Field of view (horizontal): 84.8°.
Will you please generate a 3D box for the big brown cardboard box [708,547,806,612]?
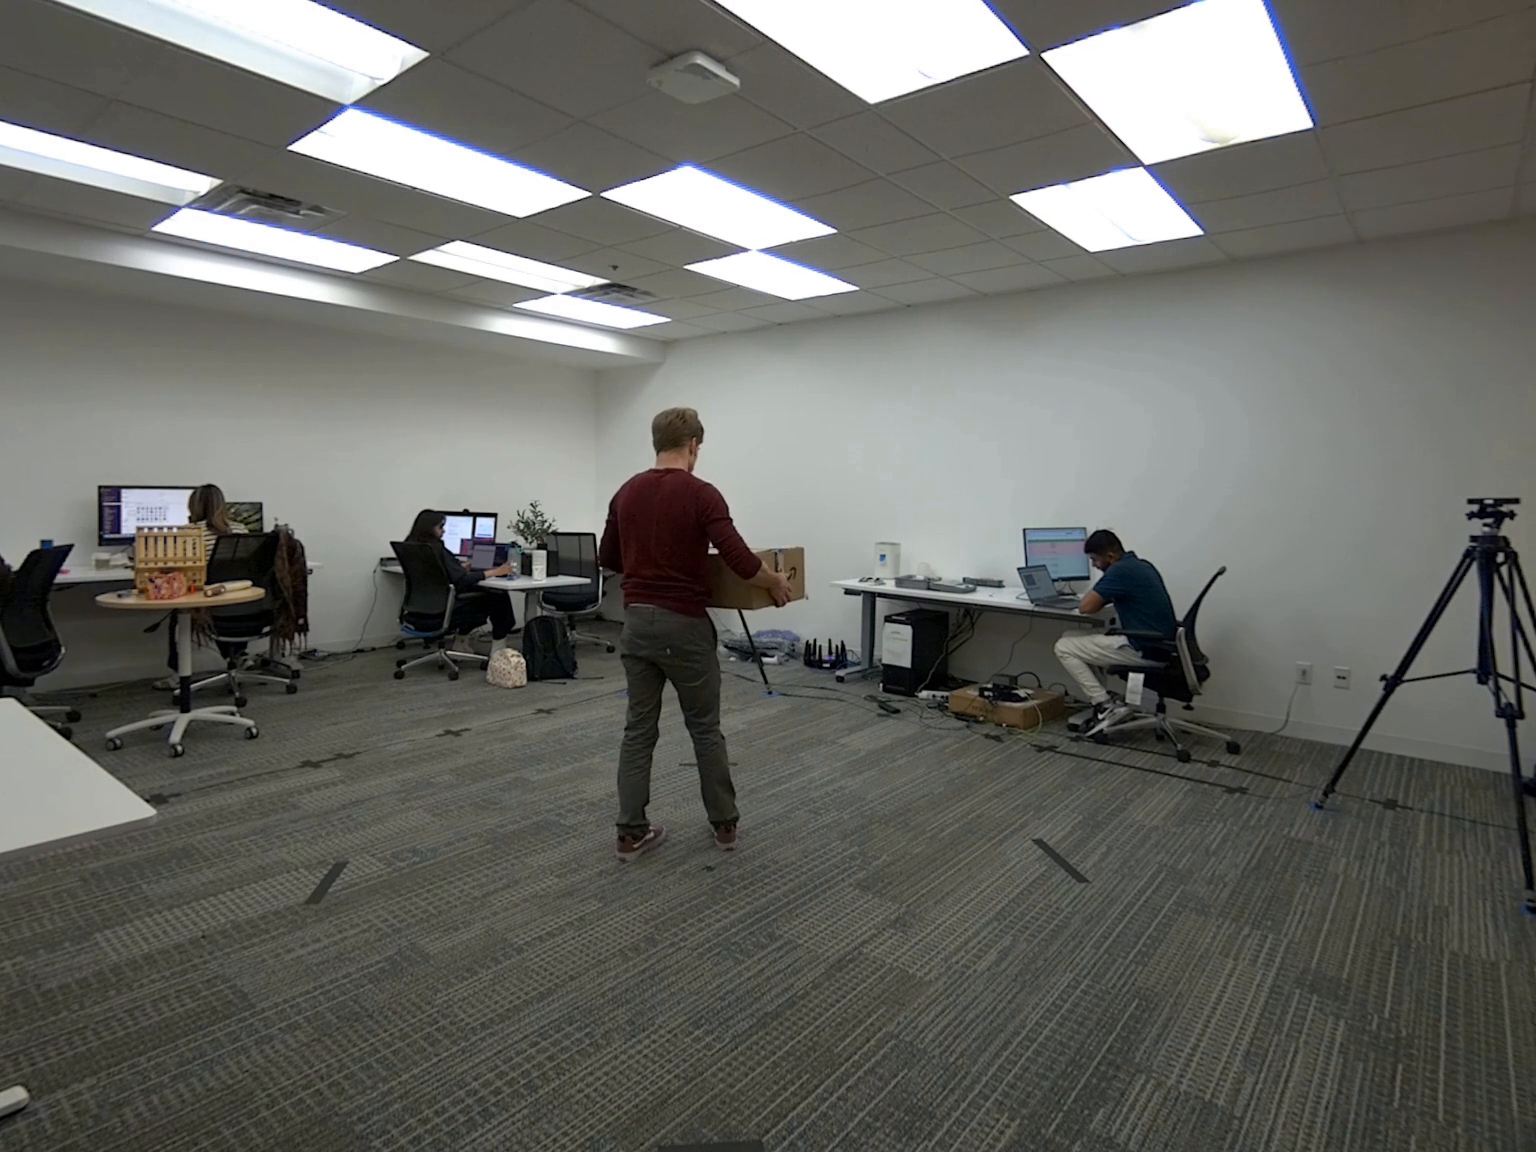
[{"bbox_3d":[-0.209,-0.008,3.506,0.606,0.232,0.407,2,6,32],"label":"big brown cardboard box"}]
